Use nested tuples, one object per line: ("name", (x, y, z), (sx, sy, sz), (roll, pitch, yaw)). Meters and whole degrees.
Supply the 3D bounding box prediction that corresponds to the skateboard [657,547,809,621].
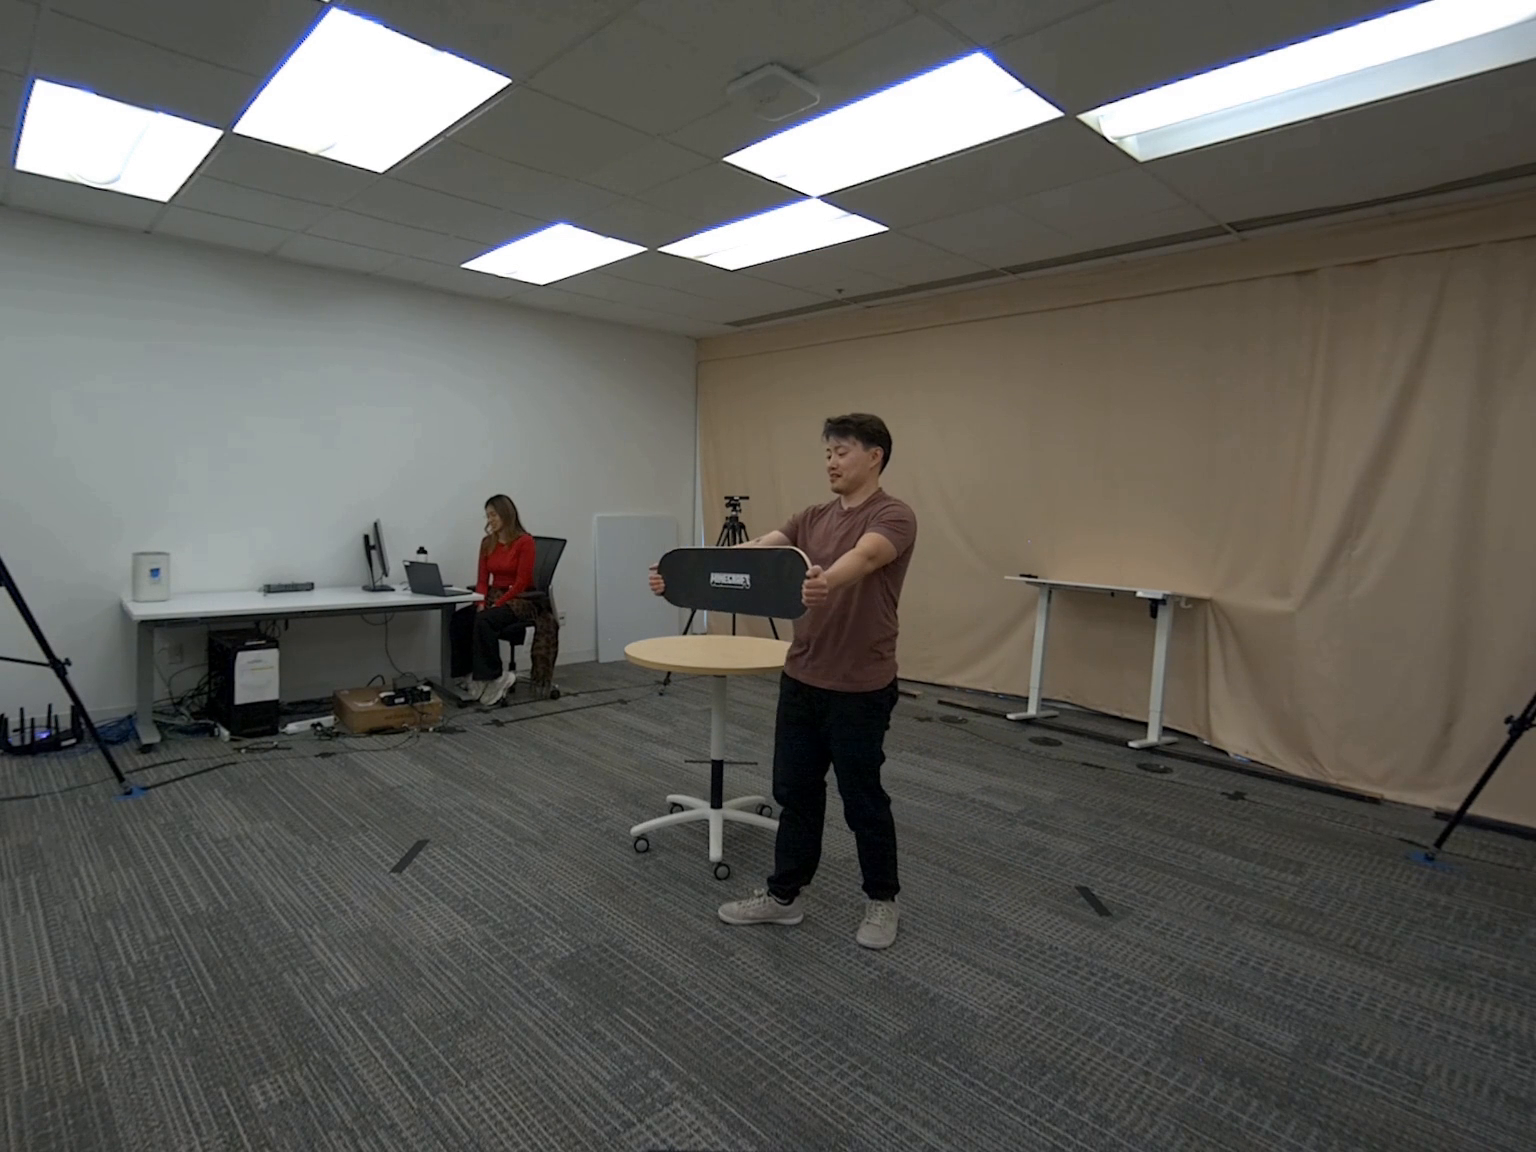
("skateboard", (-0.090, 0.008, 2.462), (0.108, 0.193, 0.803), (-2, 3, -37))
